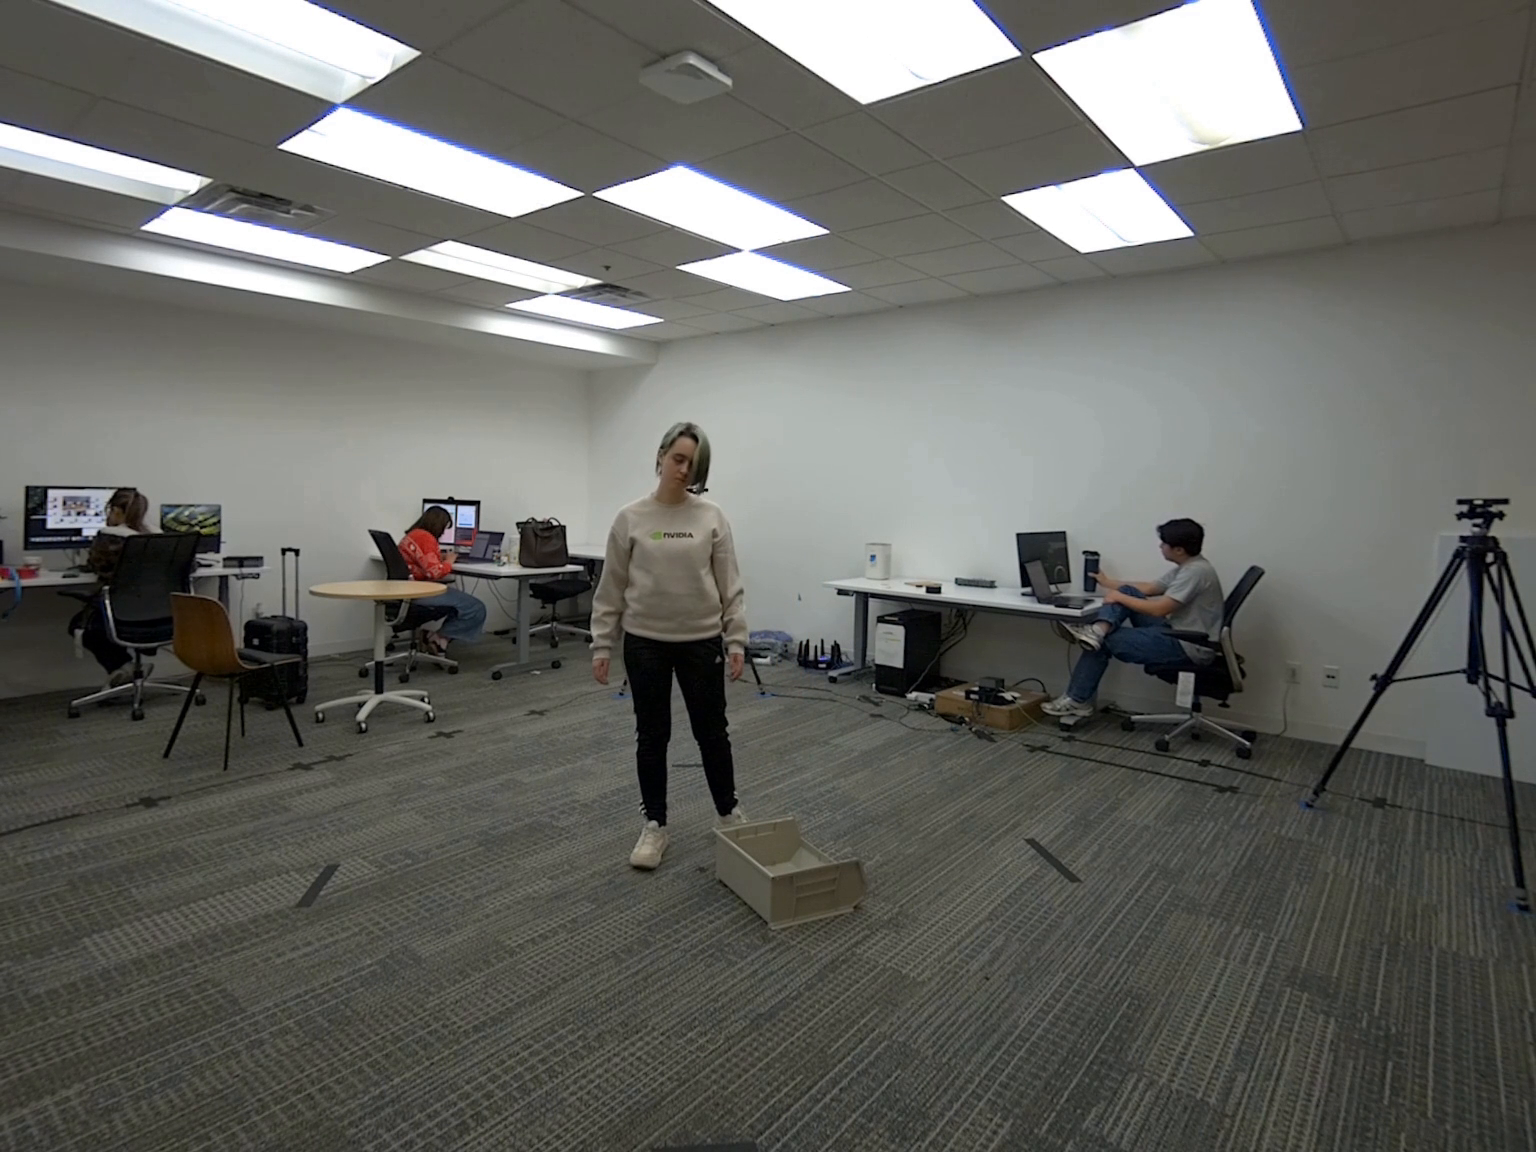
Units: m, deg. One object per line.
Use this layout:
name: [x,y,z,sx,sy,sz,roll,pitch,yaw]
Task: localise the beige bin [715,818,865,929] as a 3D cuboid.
beige bin: [0.061,1.003,2.937,0.368,0.188,0.435,-2,7,-29]
